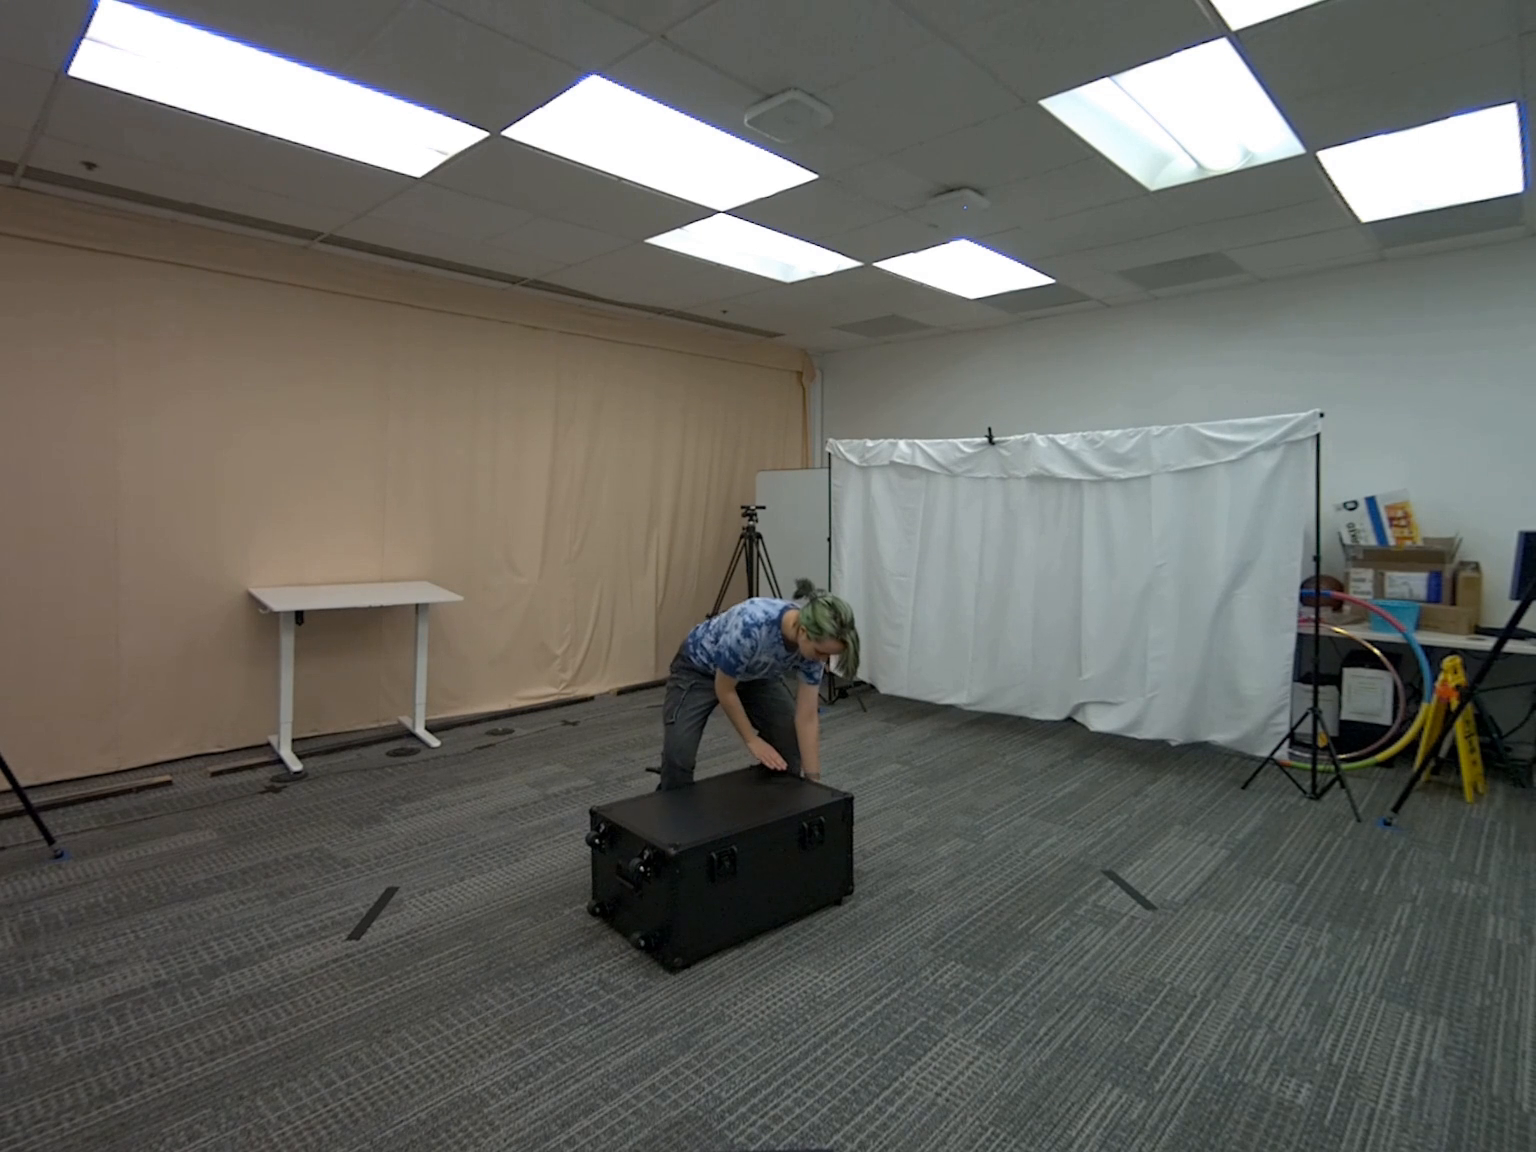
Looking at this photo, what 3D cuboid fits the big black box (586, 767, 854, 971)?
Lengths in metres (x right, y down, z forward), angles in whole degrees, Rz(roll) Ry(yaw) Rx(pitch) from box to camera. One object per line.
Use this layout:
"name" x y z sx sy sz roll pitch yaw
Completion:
"big black box" -0.170 0.965 2.881 0.836 0.395 0.538 -3 5 -38
